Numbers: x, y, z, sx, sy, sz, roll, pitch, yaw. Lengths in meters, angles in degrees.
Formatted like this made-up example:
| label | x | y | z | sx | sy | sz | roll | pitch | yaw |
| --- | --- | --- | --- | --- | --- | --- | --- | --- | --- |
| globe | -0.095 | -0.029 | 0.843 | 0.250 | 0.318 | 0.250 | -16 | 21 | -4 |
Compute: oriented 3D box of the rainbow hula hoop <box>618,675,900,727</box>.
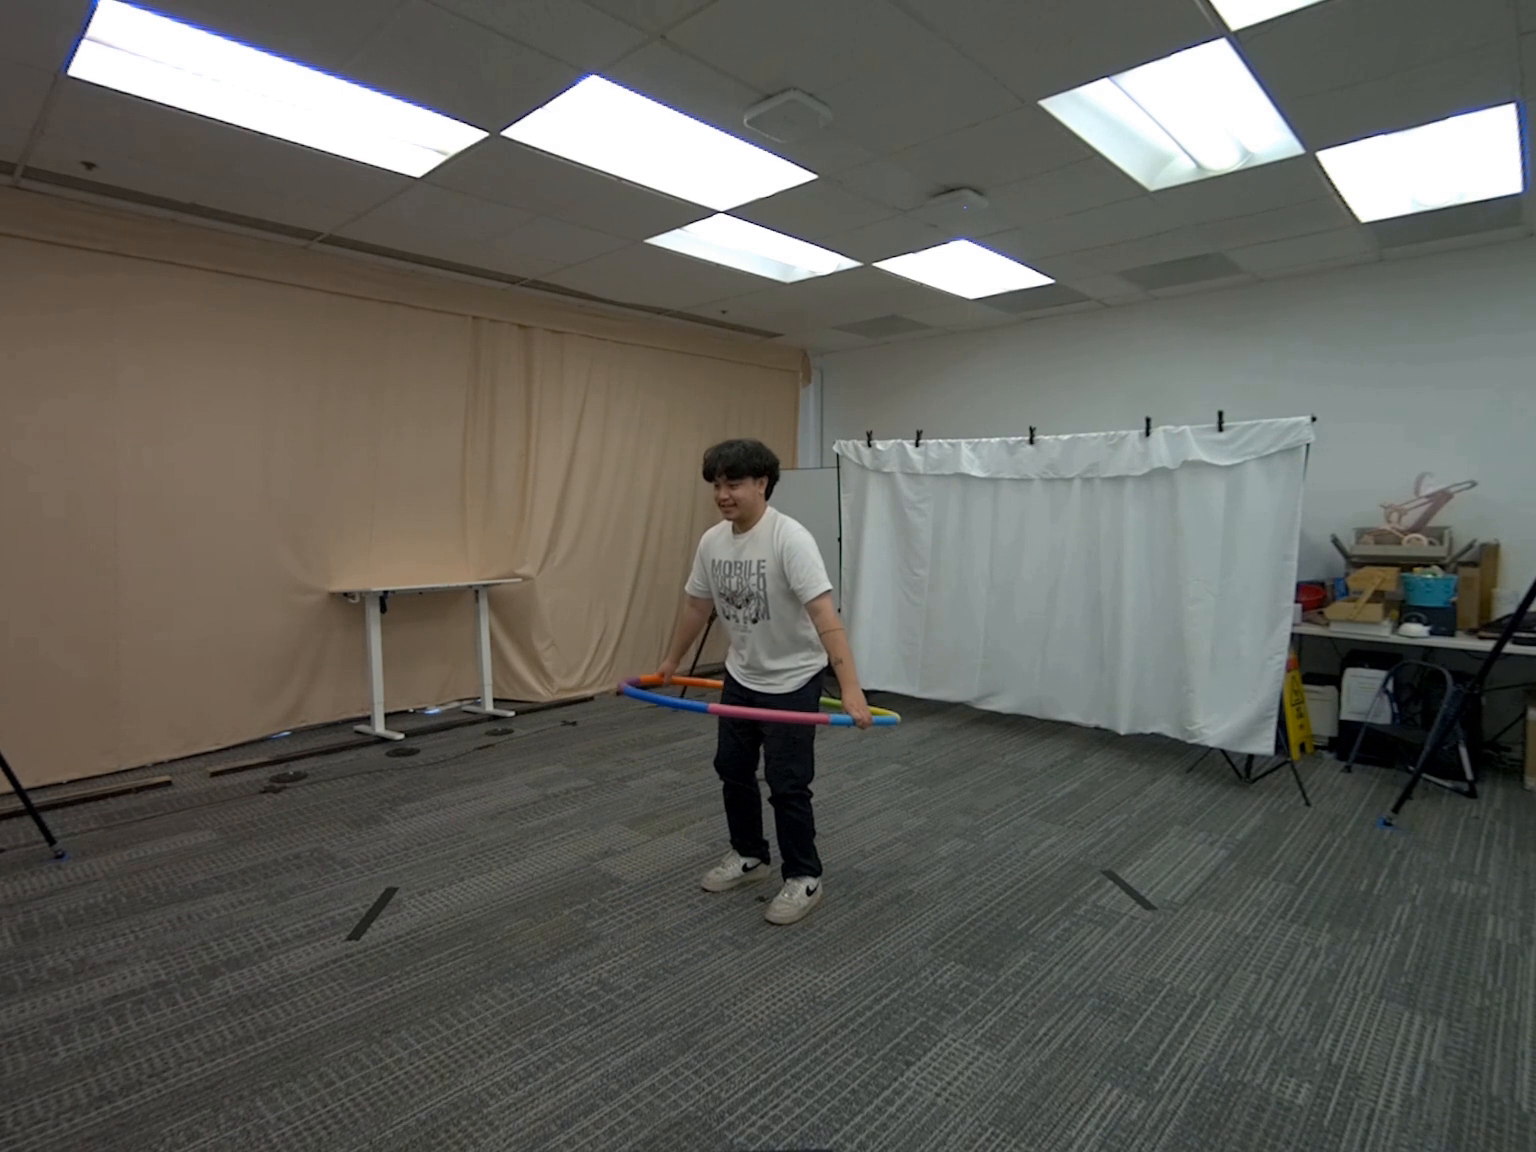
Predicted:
| label | x | y | z | sx | sy | sz | roll | pitch | yaw |
| --- | --- | --- | --- | --- | --- | --- | --- | --- | --- |
| rainbow hula hoop | -0.029 | 0.436 | 2.952 | 0.985 | 0.052 | 0.984 | 7 | -4 | -1 |
